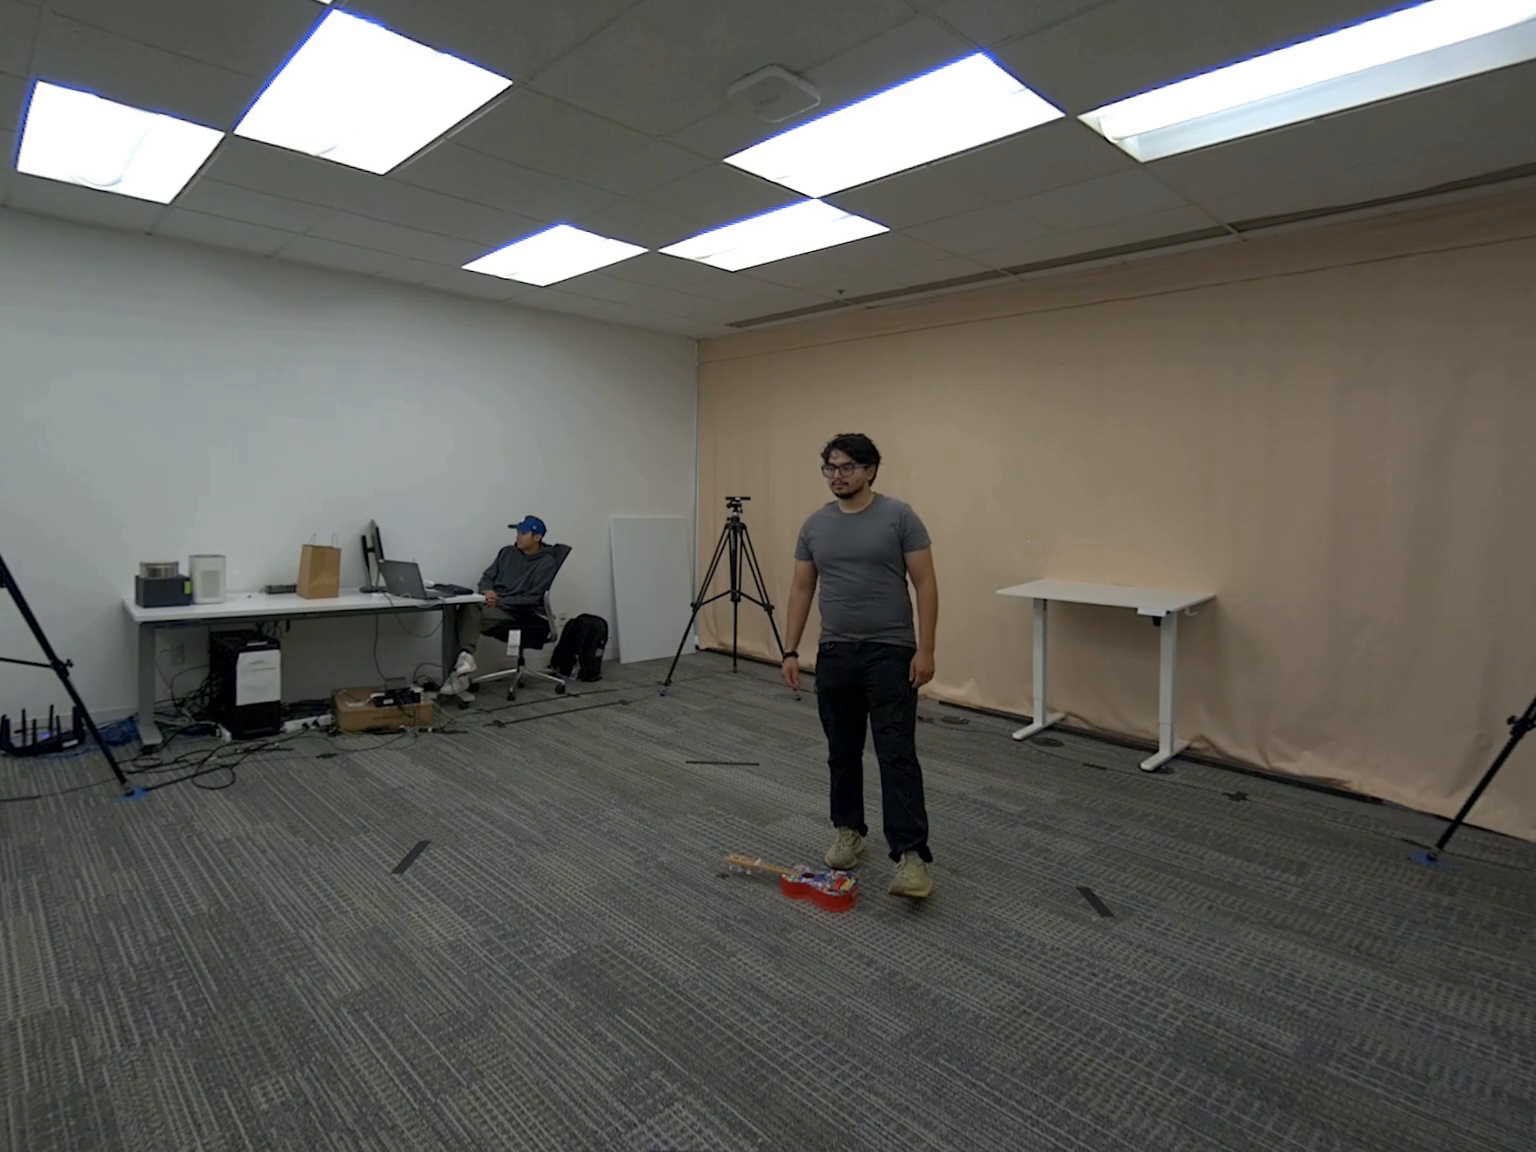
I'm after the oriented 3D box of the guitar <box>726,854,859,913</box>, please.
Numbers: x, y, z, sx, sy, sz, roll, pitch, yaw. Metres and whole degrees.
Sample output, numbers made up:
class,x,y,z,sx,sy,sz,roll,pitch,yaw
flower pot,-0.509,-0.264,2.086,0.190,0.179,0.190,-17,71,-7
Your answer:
class,x,y,z,sx,sy,sz,roll,pitch,yaw
guitar,0.085,1.080,3.043,0.510,0.070,0.189,5,6,34
